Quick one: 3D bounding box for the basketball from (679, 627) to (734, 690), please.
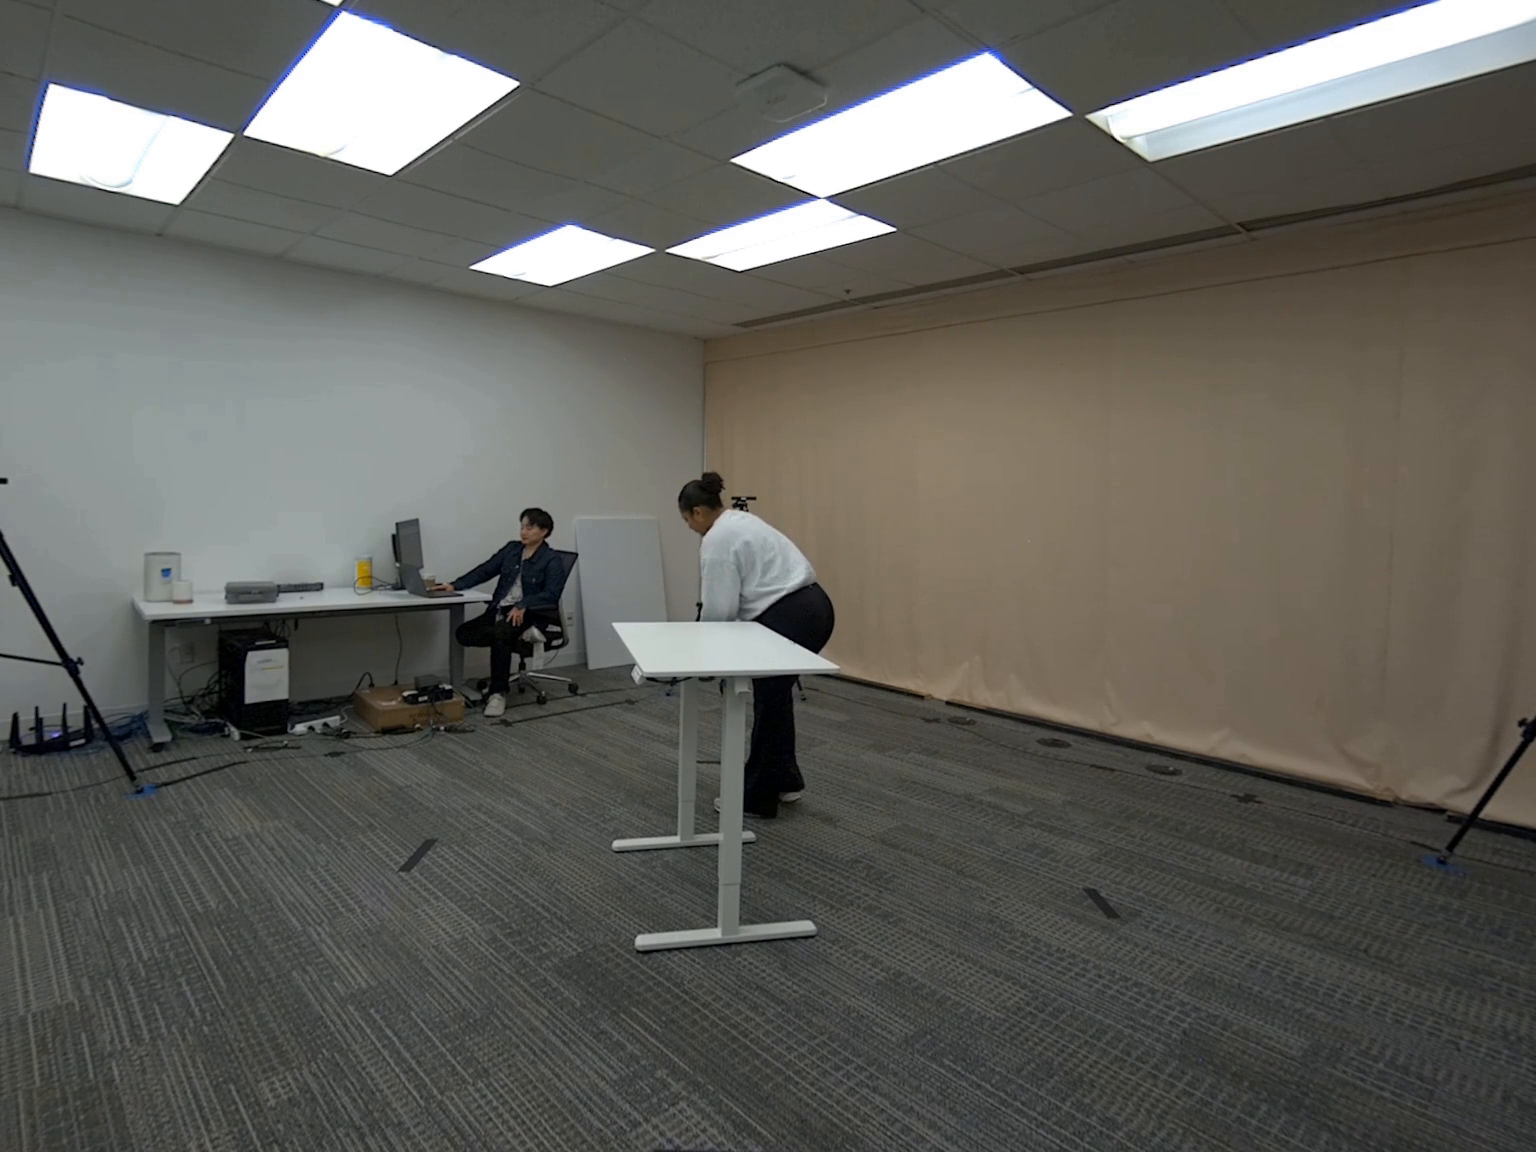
[{"bbox_3d":[-0.282,0.372,3.878,0.236,0.235,0.237,1,4,-1],"label":"basketball"}]
